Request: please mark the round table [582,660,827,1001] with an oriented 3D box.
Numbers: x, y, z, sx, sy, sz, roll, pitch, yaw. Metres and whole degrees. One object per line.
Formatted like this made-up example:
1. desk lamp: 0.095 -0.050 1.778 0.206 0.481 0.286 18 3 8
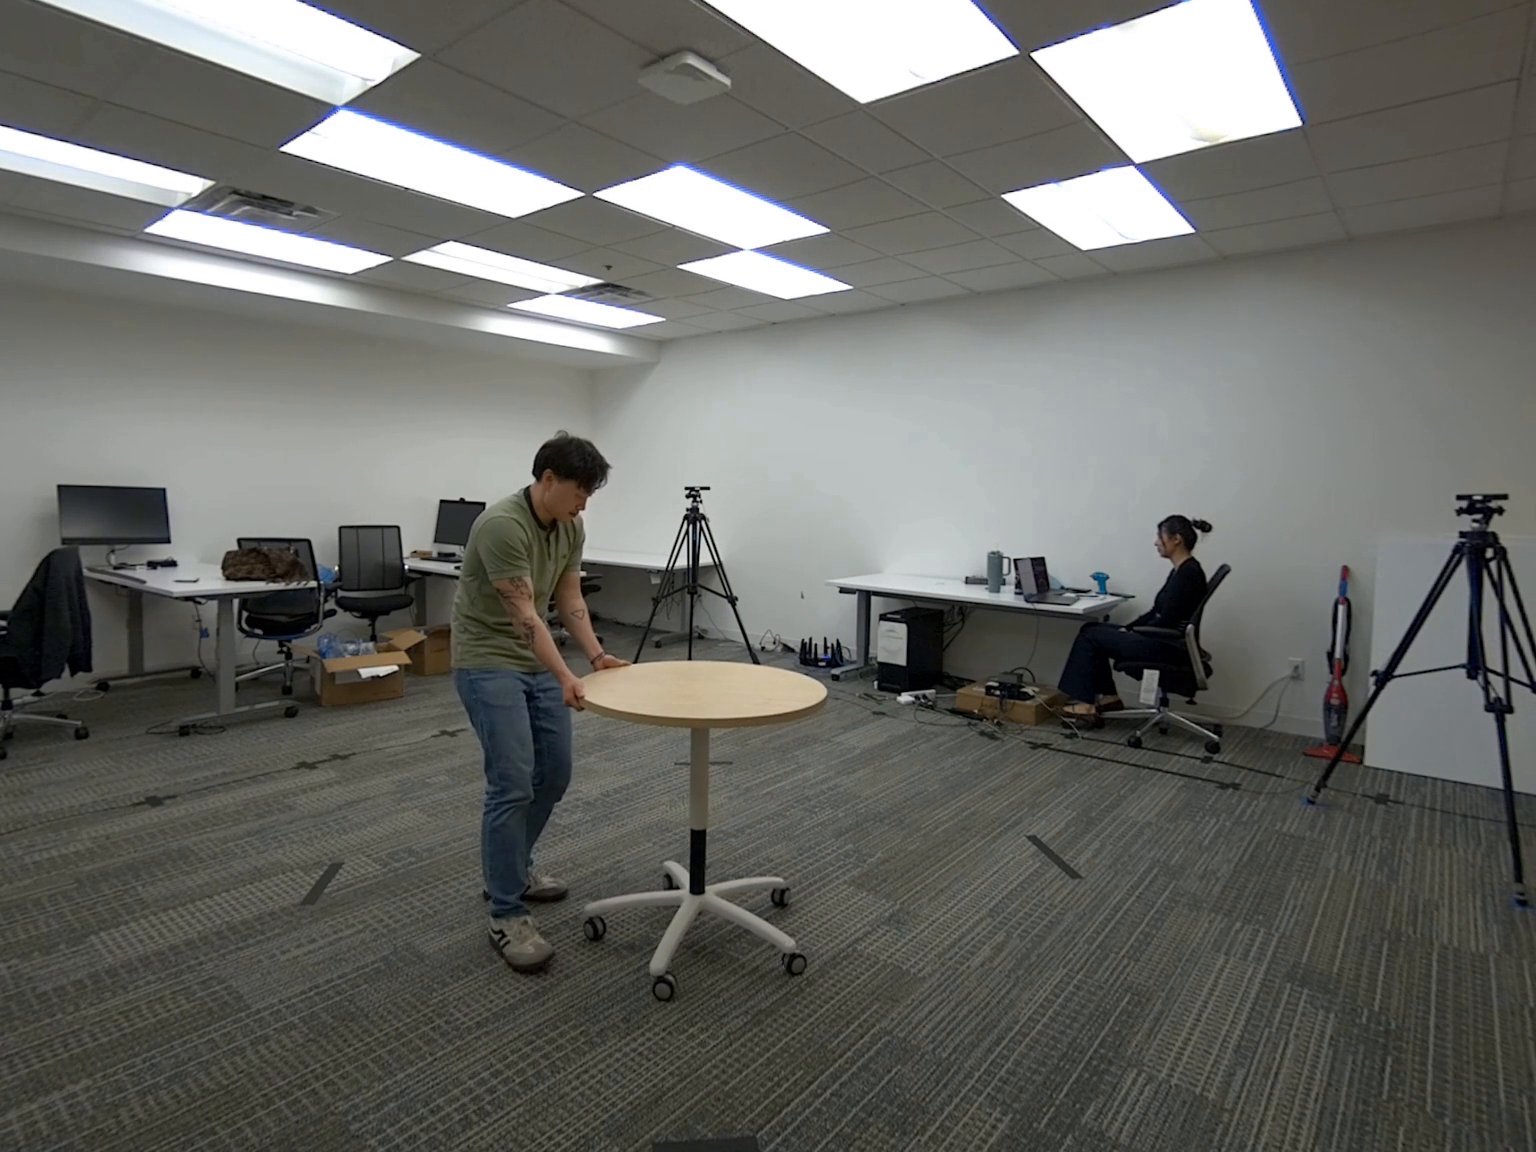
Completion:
1. round table: -0.213 0.727 2.606 0.763 0.791 0.768 1 4 -2
